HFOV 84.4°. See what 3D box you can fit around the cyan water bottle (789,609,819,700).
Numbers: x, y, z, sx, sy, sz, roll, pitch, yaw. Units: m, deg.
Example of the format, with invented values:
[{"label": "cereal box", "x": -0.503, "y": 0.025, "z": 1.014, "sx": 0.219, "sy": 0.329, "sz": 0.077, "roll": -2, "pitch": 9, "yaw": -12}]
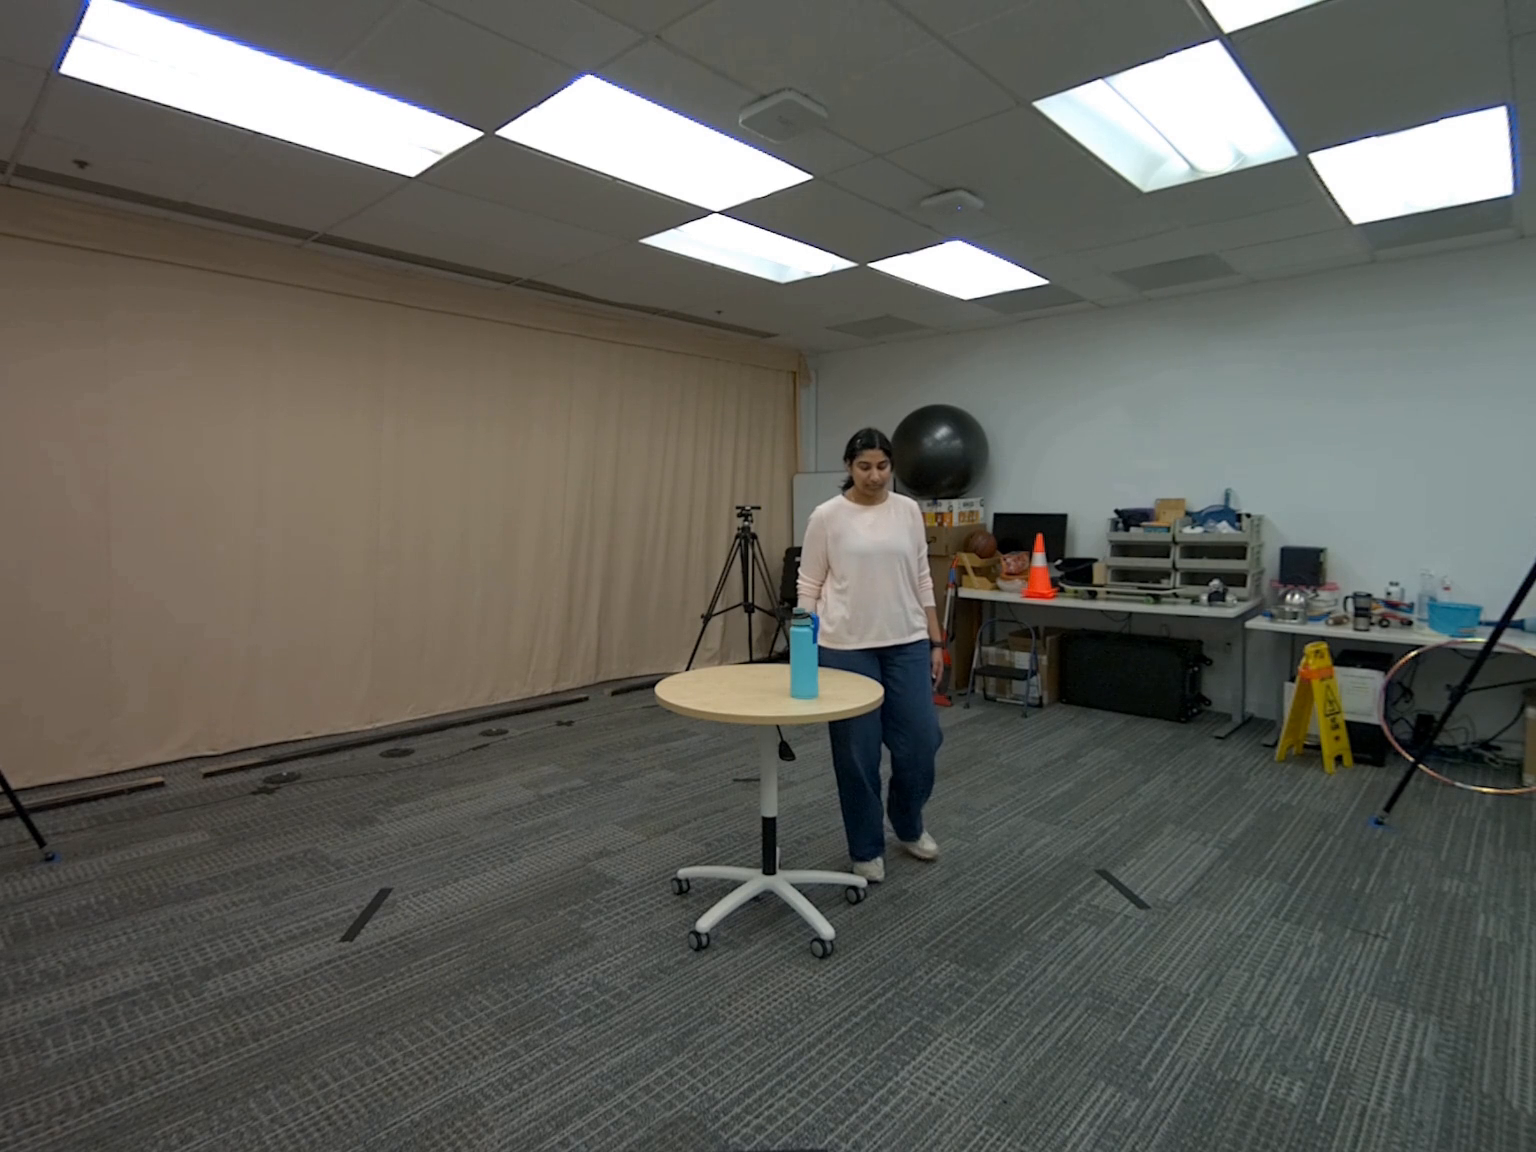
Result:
[{"label": "cyan water bottle", "x": 0.120, "y": 0.247, "z": 2.683, "sx": 0.092, "sy": 0.282, "sz": 0.093, "roll": -1, "pitch": 4, "yaw": -2}]
